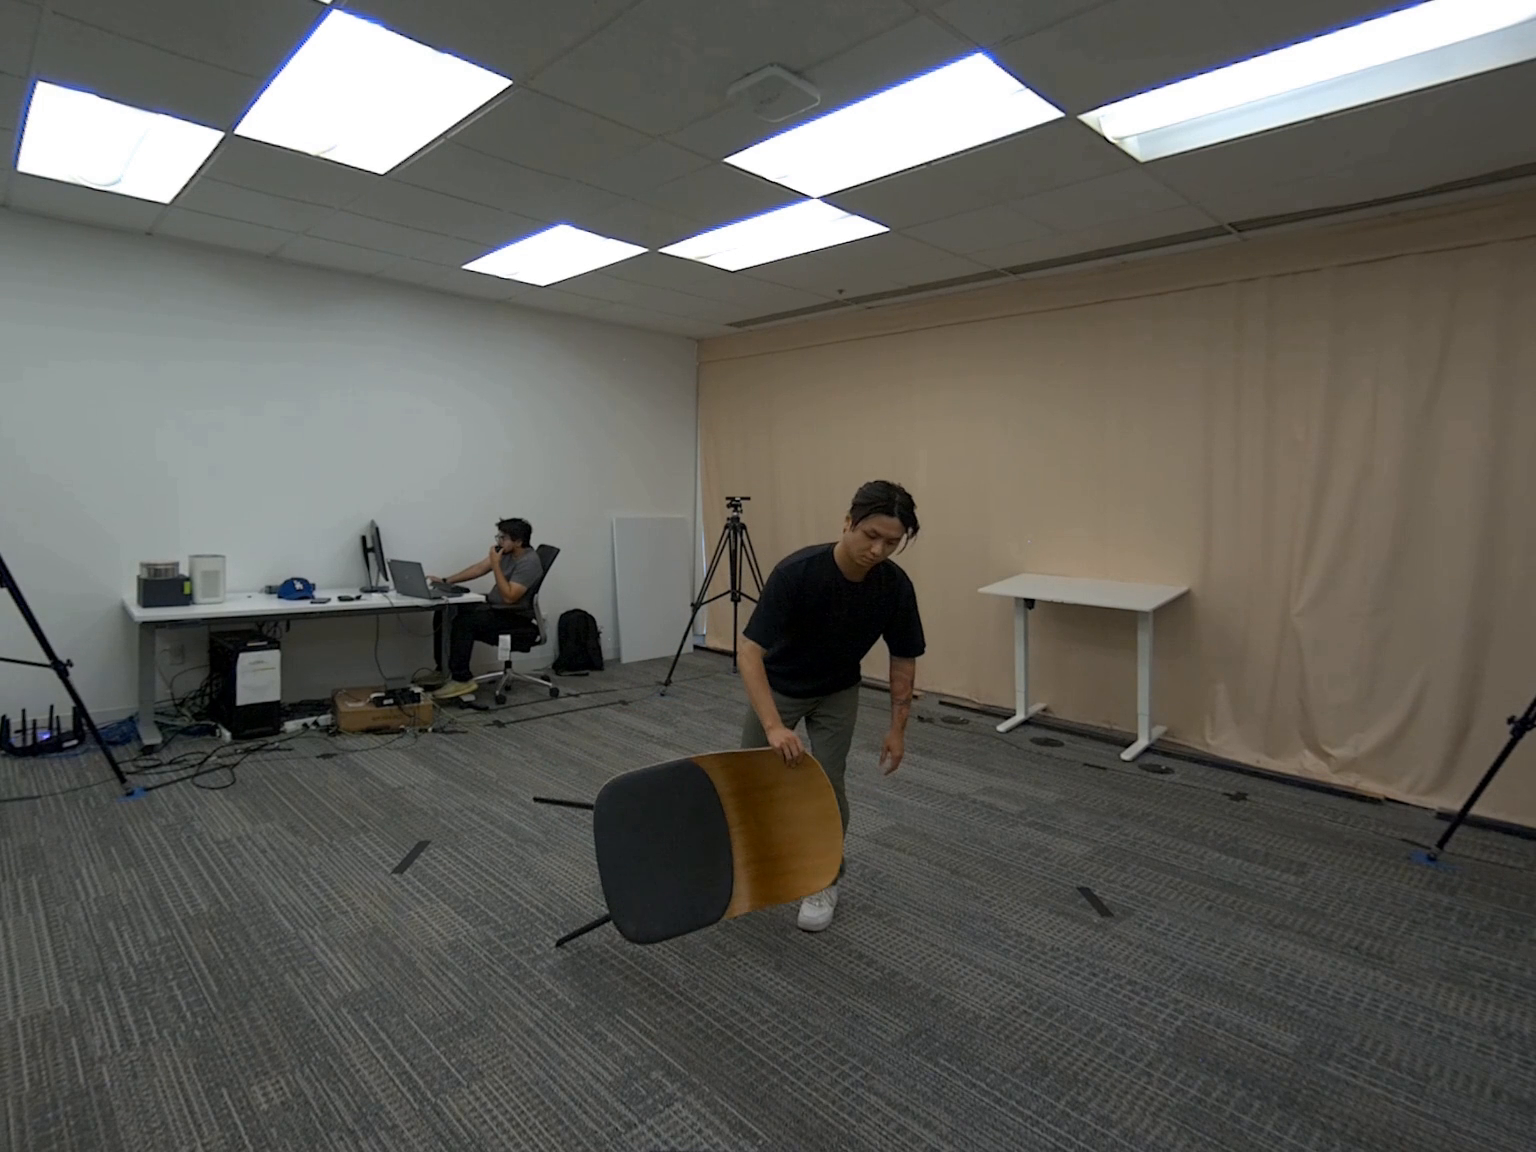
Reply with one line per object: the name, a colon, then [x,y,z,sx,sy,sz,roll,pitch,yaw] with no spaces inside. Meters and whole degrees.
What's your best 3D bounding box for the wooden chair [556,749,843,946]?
wooden chair: [-0.281,0.795,2.466,0.511,0.484,0.888,0,-18,-45]
